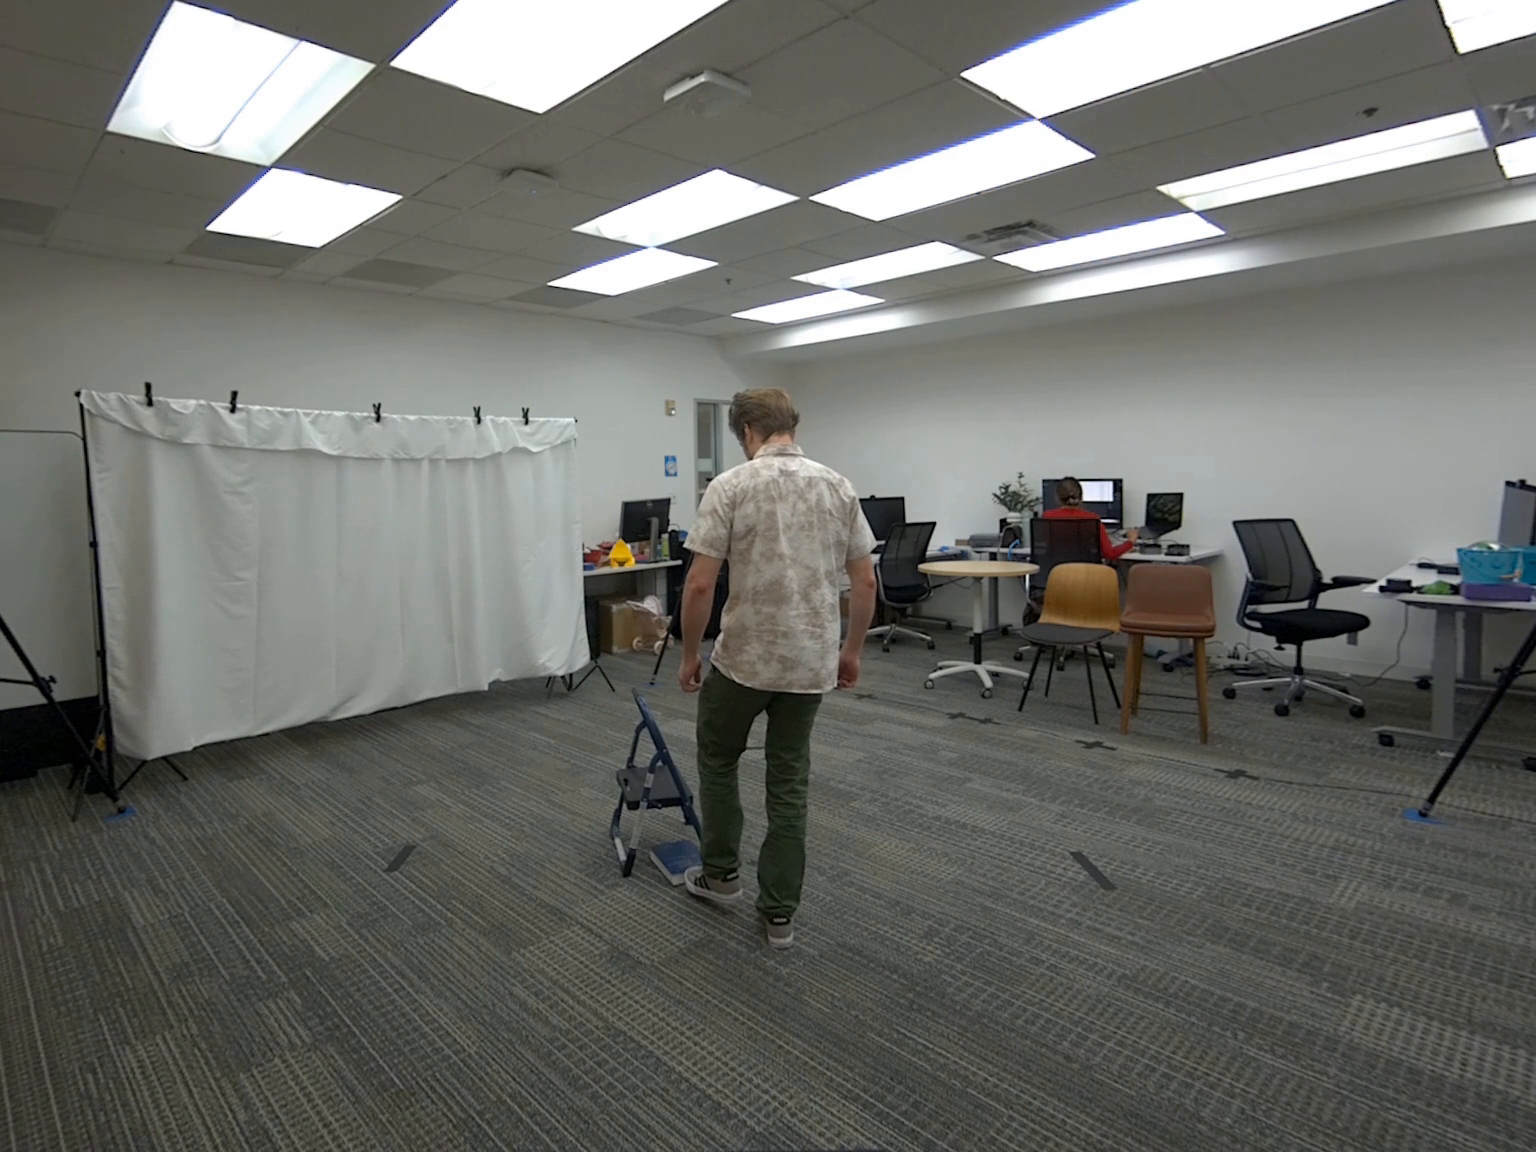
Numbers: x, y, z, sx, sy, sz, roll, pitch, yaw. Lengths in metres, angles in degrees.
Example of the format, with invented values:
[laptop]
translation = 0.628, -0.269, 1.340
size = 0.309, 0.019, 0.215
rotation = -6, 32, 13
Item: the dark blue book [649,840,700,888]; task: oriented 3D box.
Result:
[dark blue book]
translation = -0.312, 1.028, 3.067
size = 0.160, 0.045, 0.251
rotation = -4, 8, -26
